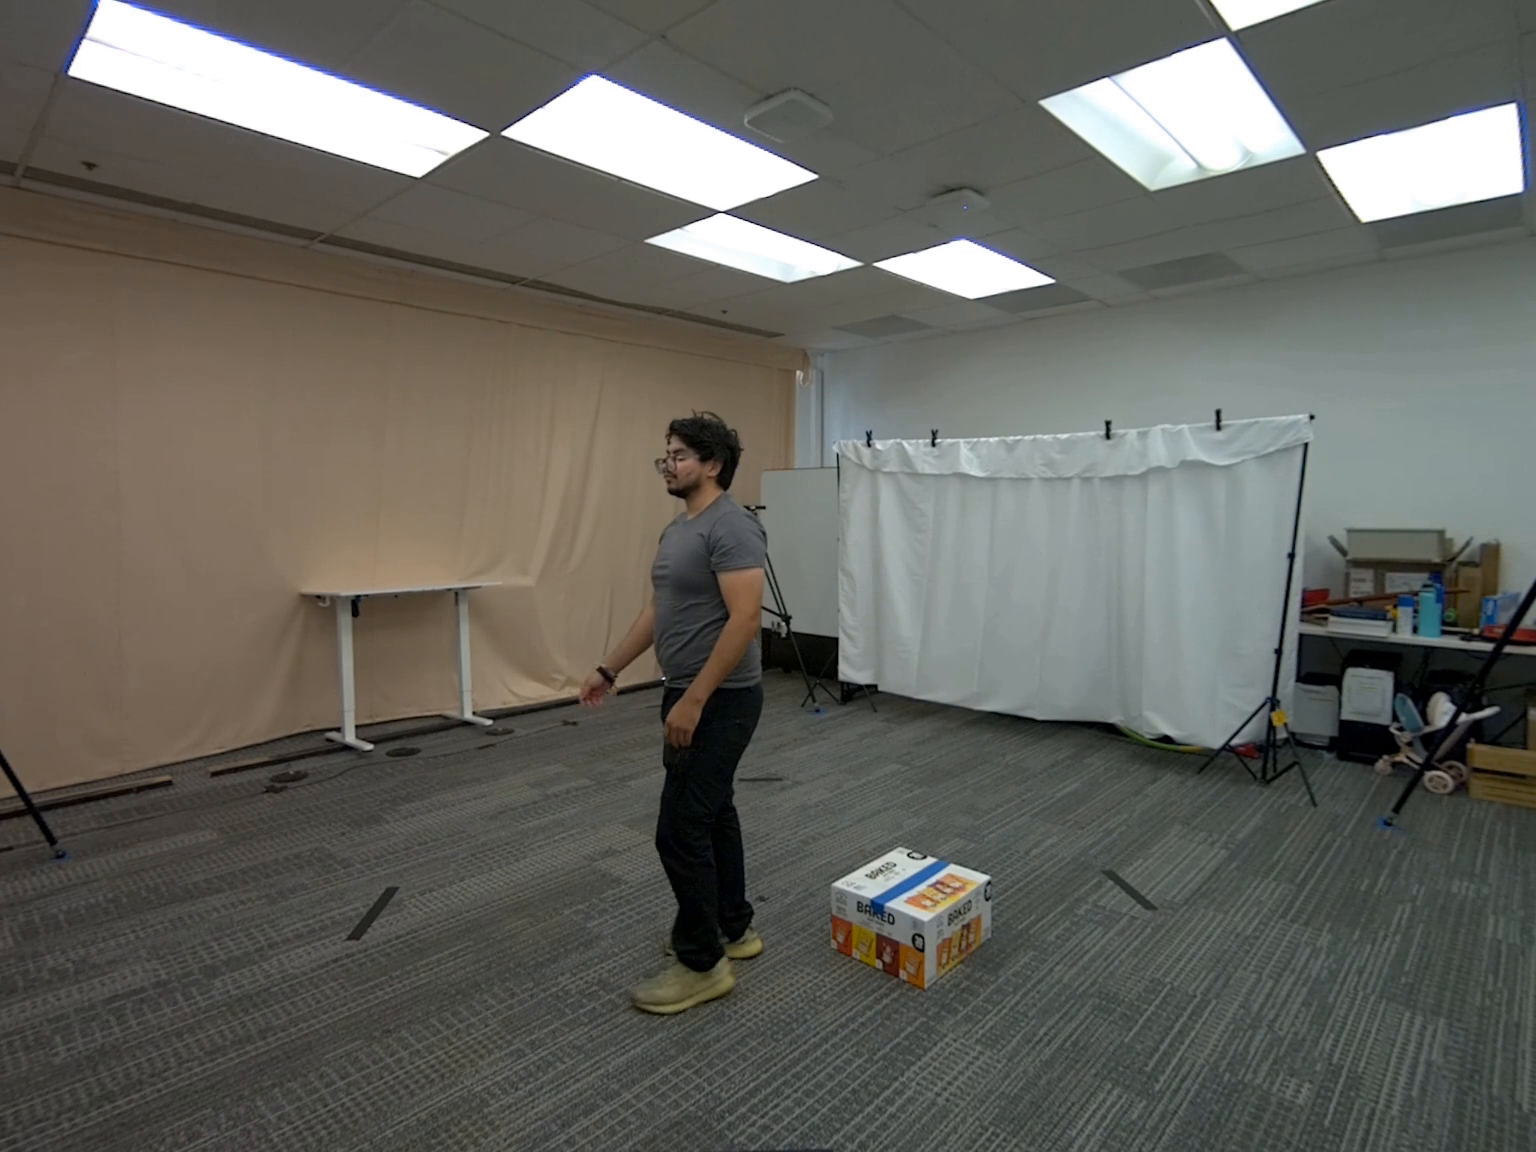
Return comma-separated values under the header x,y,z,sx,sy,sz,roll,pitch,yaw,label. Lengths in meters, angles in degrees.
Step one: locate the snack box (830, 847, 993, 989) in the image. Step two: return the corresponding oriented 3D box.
x,y,z,sx,sy,sz,roll,pitch,yaw,label
0.464,1.069,2.670,0.352,0.205,0.393,4,6,42,snack box
